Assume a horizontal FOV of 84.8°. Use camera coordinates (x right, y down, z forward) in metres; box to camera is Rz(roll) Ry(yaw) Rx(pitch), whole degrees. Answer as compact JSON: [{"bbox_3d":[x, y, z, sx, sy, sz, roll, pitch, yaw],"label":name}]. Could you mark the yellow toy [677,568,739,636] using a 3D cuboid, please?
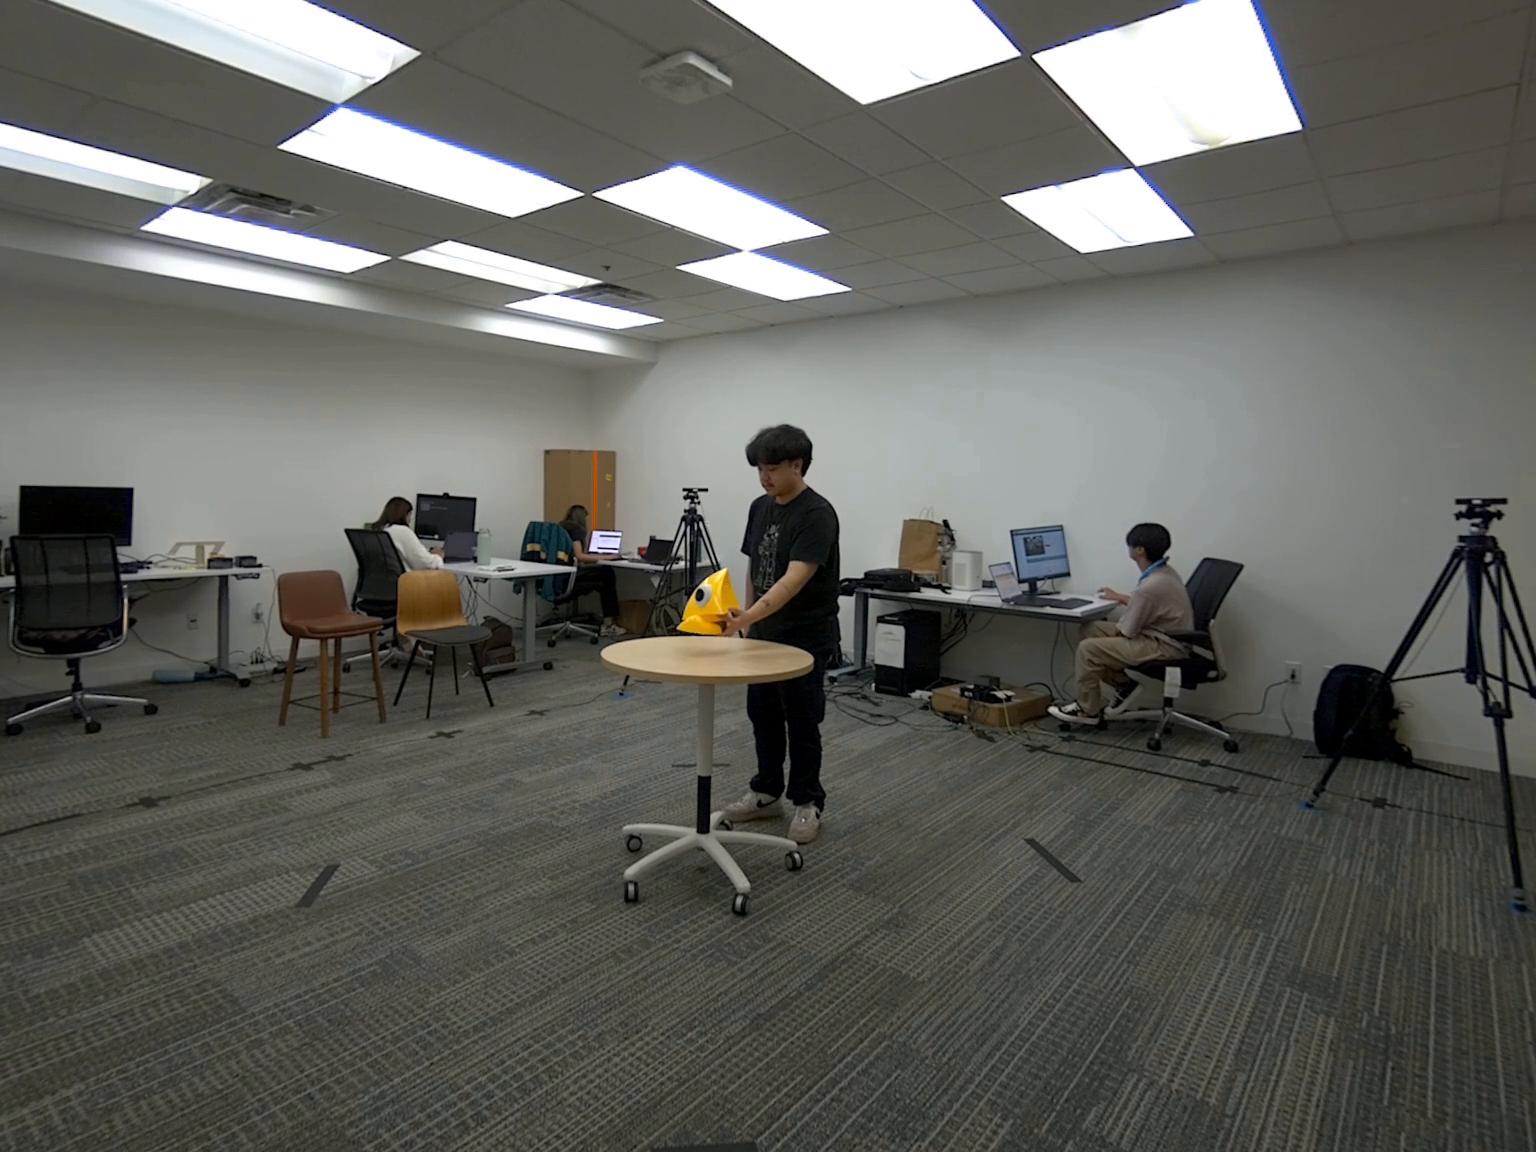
[{"bbox_3d":[-0.224,0.072,3.082,0.197,0.230,0.201,6,4,18],"label":"yellow toy"}]
